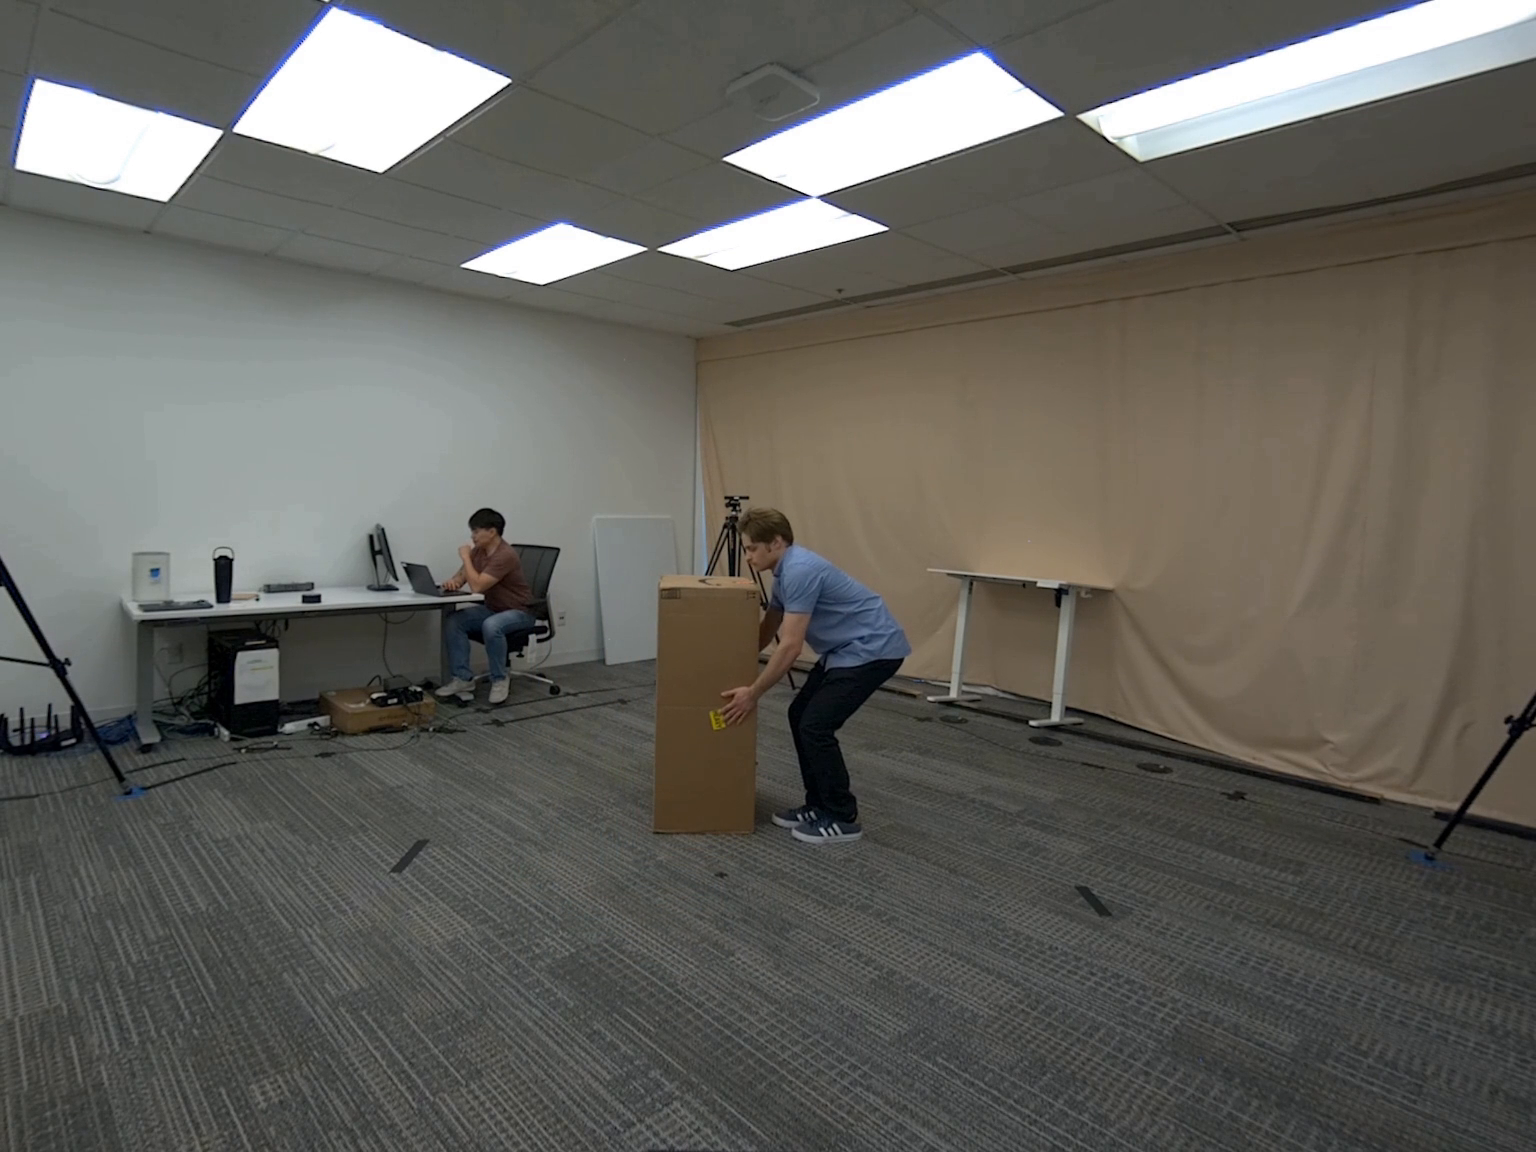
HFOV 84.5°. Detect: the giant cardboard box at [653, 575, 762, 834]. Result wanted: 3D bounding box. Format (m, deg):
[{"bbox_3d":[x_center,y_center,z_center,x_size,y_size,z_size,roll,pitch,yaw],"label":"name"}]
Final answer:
[{"bbox_3d":[-0.292,0.534,3.756,0.425,1.024,0.580,2,3,-5],"label":"giant cardboard box"}]
